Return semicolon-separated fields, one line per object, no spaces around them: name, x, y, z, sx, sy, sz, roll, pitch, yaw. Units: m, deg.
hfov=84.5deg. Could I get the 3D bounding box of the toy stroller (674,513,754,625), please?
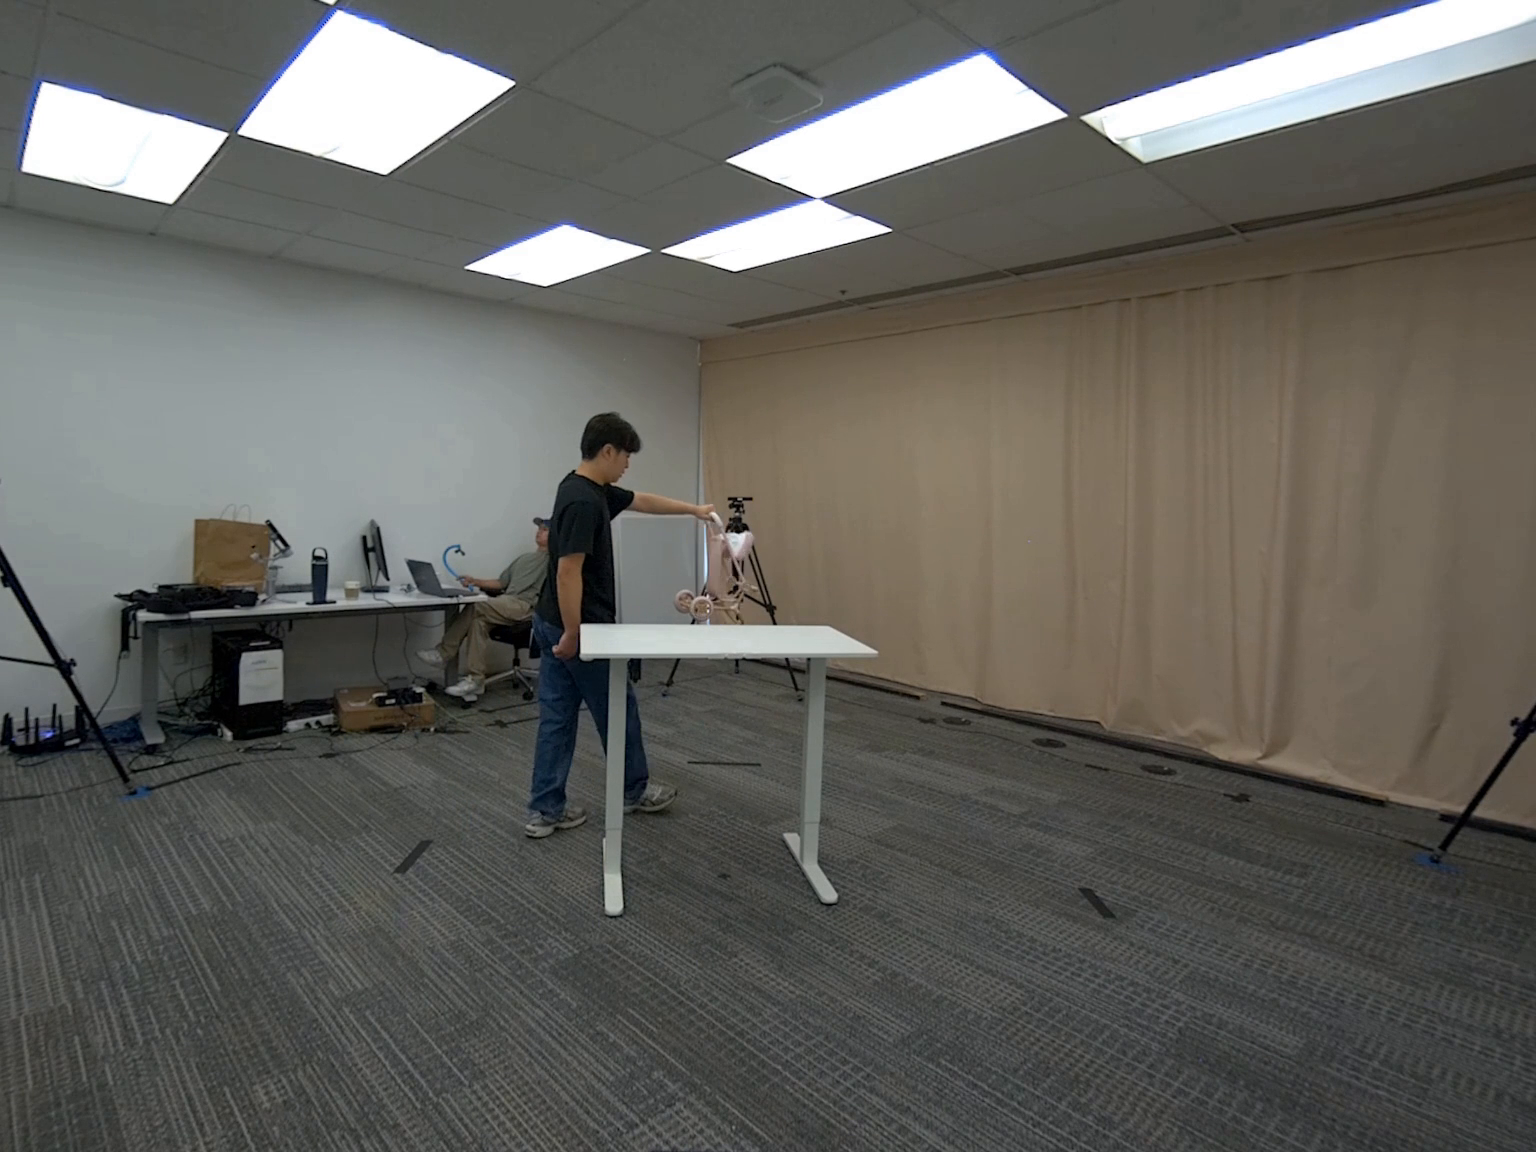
toy stroller;-0.207;0.012;3.848;0.336;0.536;0.285;16;-3;-18
